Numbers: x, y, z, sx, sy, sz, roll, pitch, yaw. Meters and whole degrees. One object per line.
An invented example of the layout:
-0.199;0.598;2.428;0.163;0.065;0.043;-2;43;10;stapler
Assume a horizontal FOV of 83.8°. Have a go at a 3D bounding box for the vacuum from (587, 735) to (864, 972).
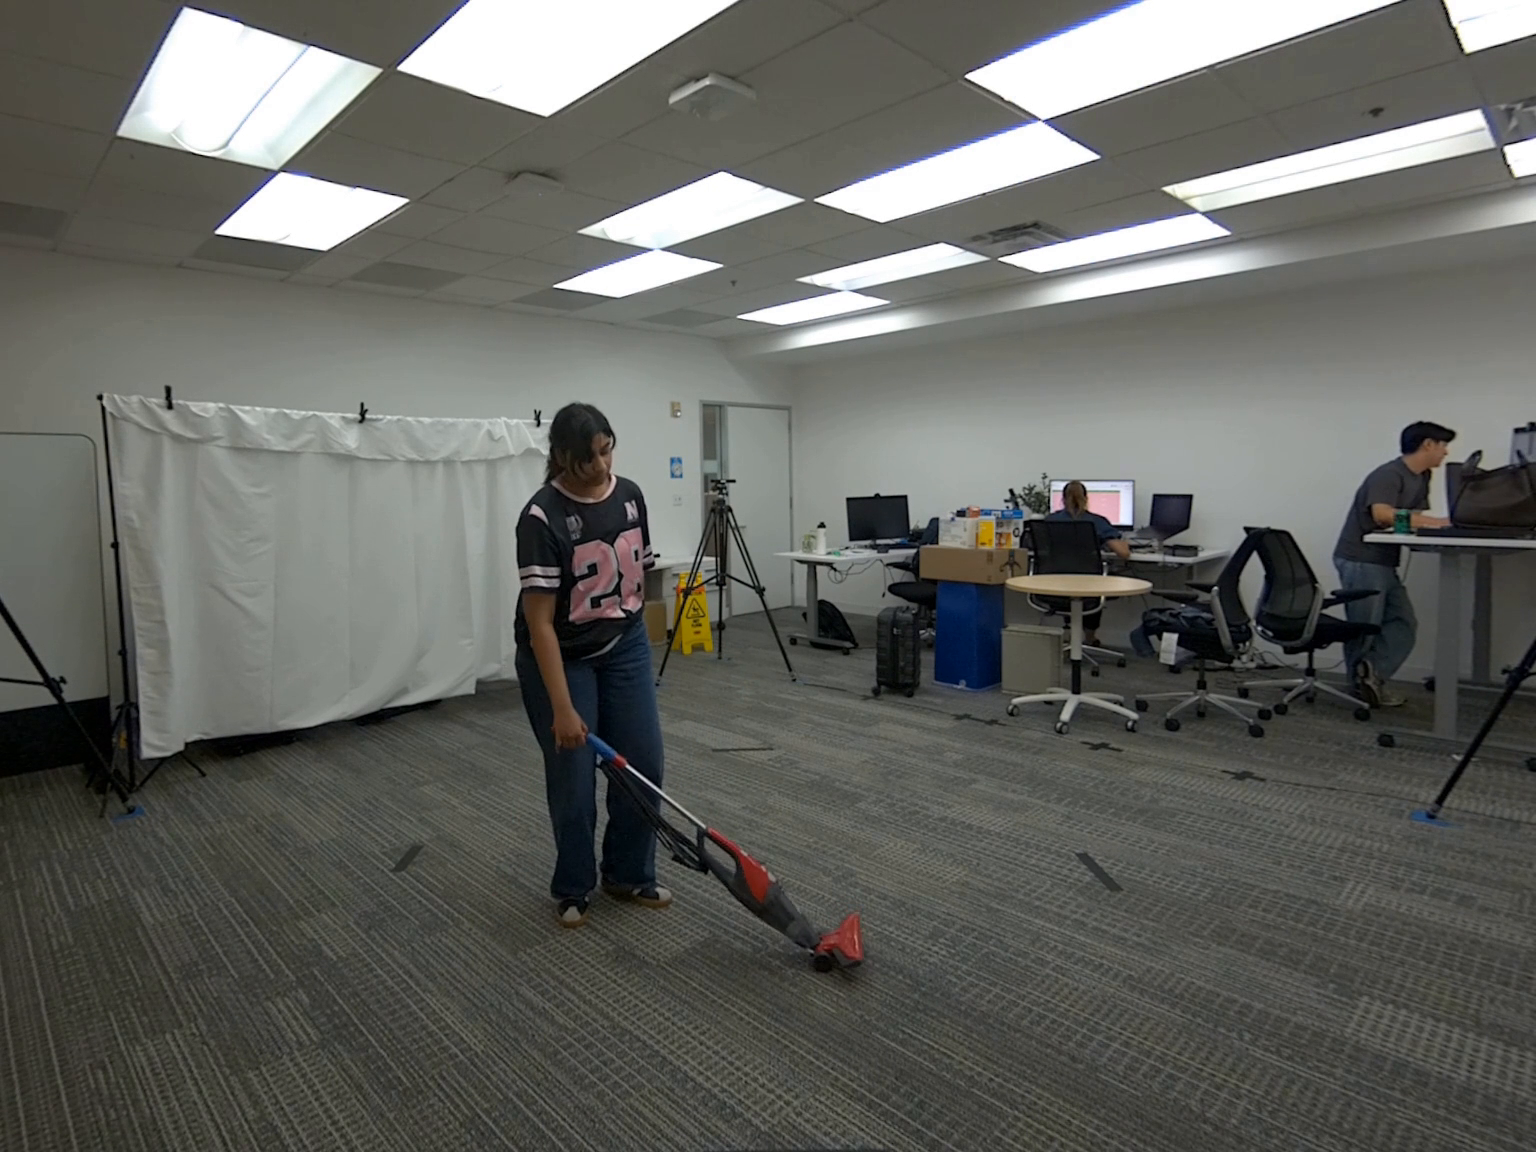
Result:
-0.210;0.770;2.517;1.056;0.144;0.251;36;7;5;vacuum
